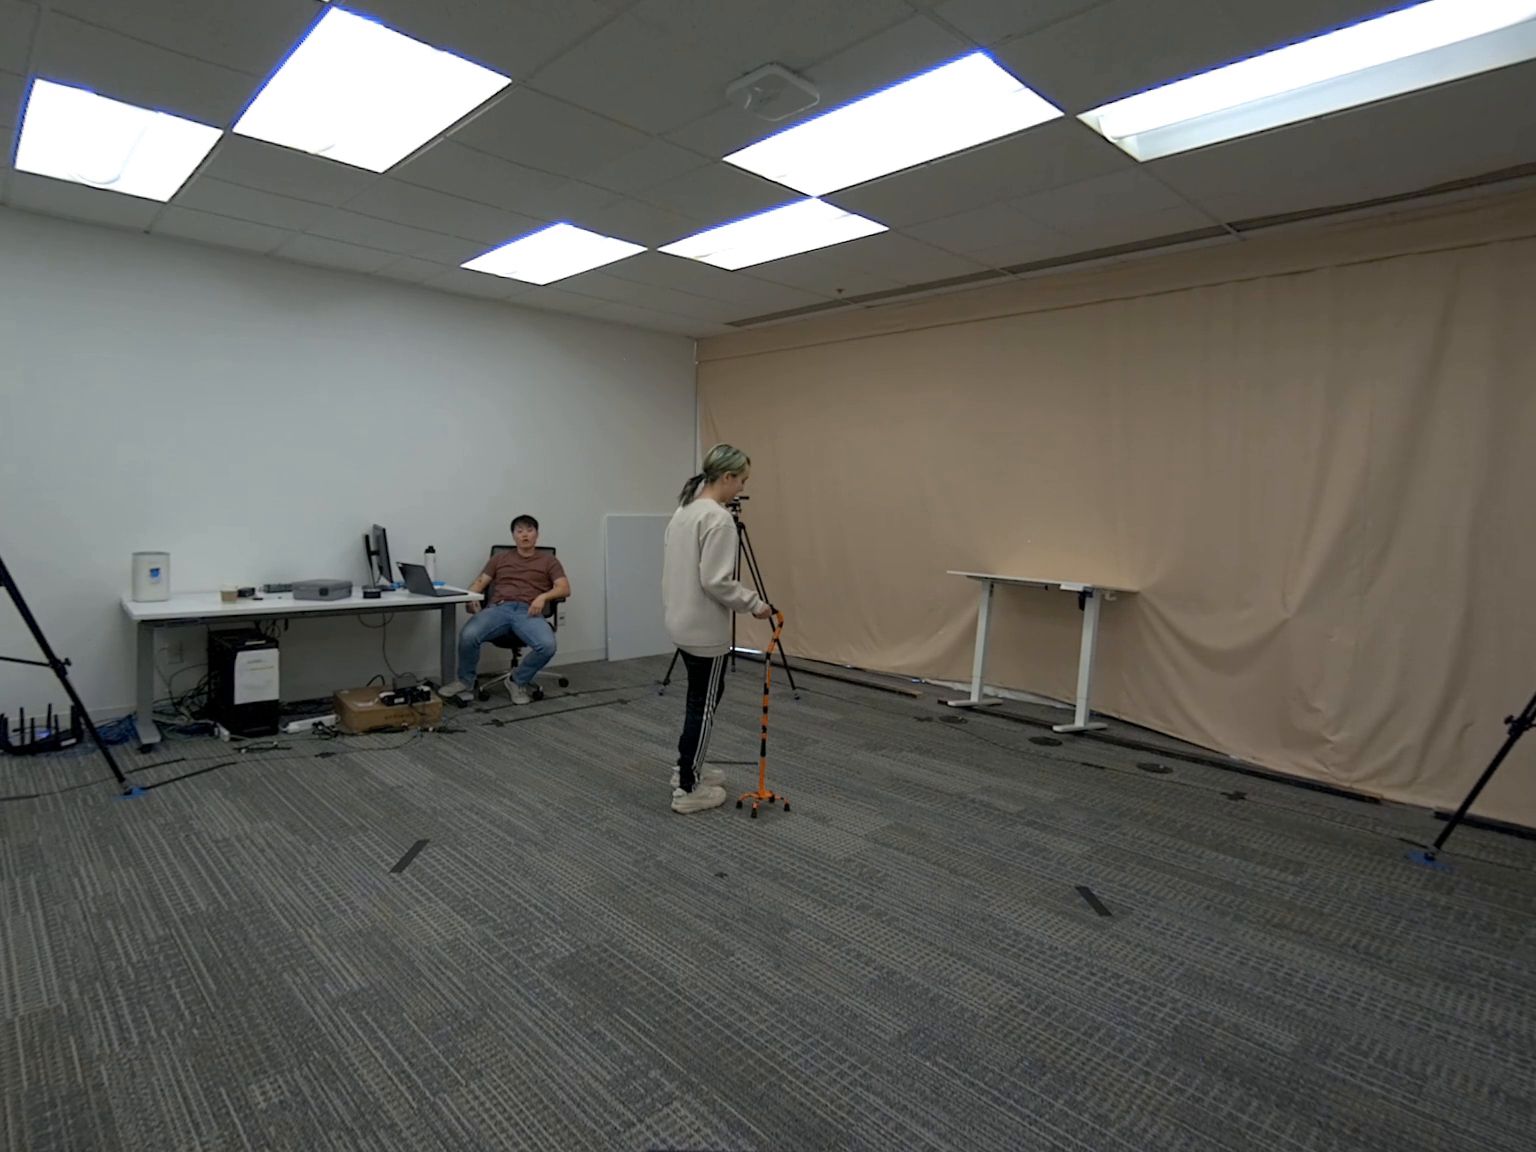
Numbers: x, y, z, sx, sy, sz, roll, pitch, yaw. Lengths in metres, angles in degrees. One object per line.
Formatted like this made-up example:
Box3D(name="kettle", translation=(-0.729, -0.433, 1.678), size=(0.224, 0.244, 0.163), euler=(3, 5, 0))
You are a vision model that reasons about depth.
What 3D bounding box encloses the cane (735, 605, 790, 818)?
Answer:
Box3D(name="cane", translation=(-0.005, 0.593, 3.746), size=(0.202, 0.905, 0.155), euler=(0, 6, -34))
